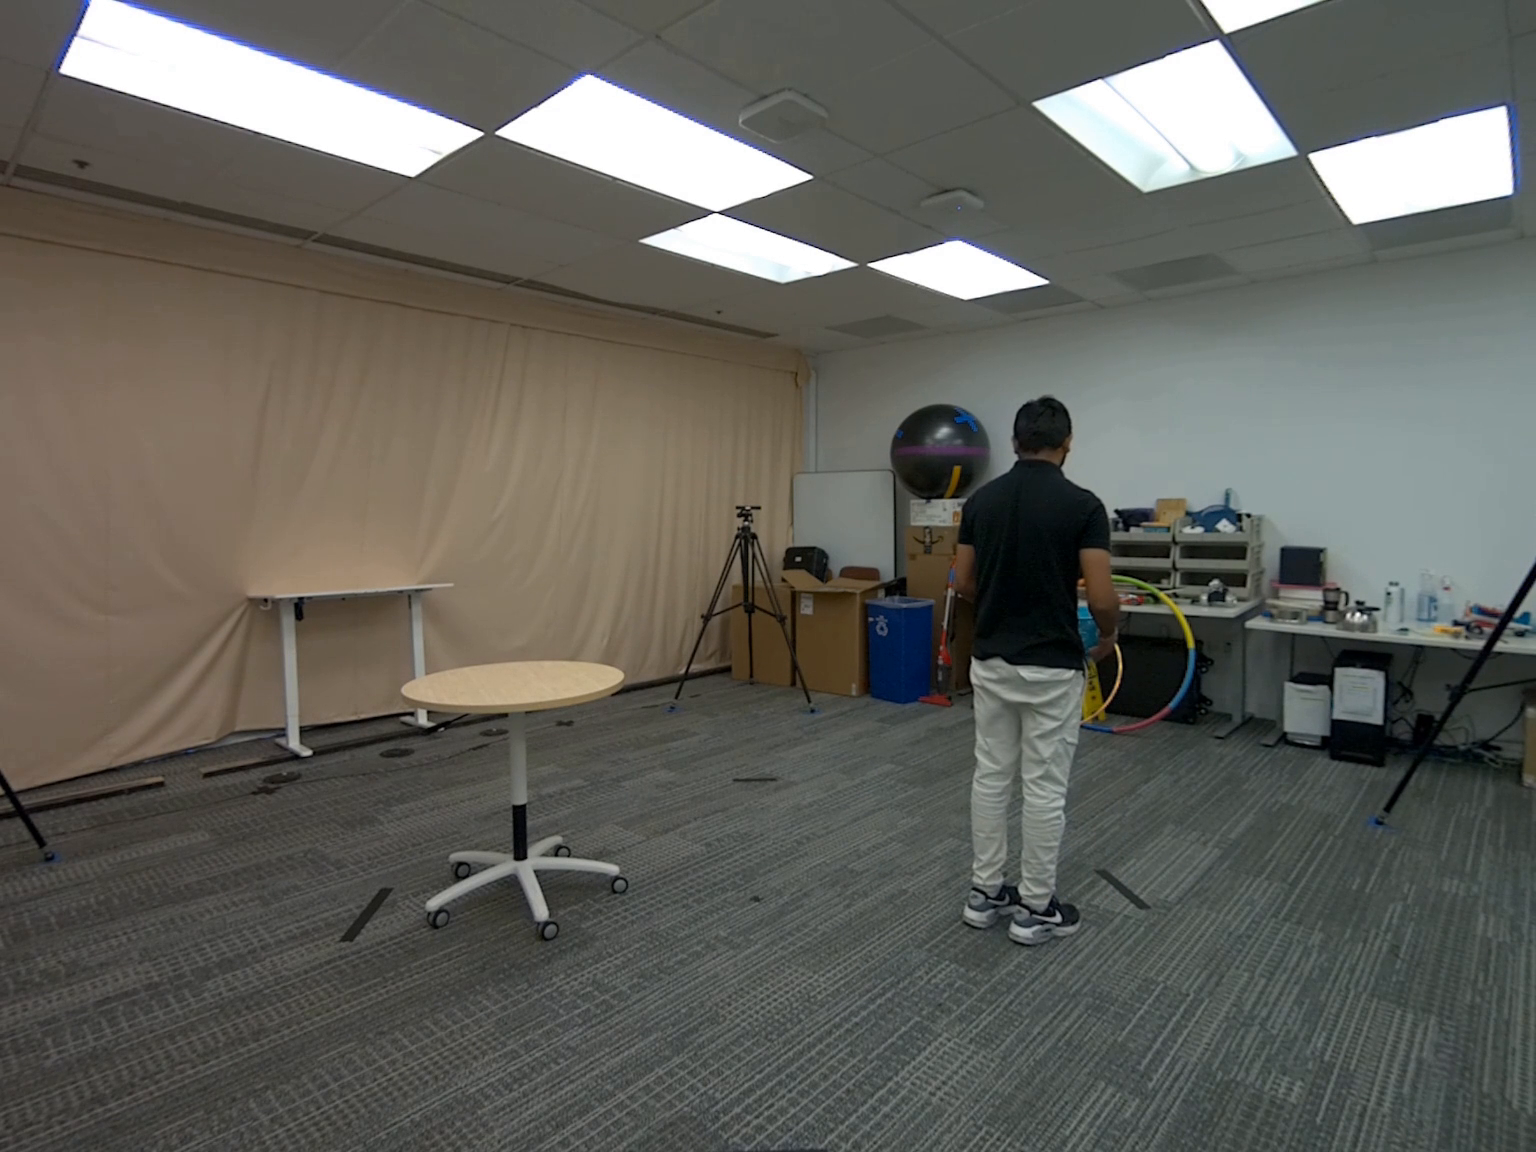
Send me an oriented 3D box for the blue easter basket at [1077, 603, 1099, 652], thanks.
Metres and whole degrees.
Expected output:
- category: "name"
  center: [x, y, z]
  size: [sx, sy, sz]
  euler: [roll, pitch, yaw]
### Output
- category: "blue easter basket"
  center: [1.098, 0.205, 2.906]
  size: [0.243, 0.155, 0.245]
  euler: [-3, 7, -2]
